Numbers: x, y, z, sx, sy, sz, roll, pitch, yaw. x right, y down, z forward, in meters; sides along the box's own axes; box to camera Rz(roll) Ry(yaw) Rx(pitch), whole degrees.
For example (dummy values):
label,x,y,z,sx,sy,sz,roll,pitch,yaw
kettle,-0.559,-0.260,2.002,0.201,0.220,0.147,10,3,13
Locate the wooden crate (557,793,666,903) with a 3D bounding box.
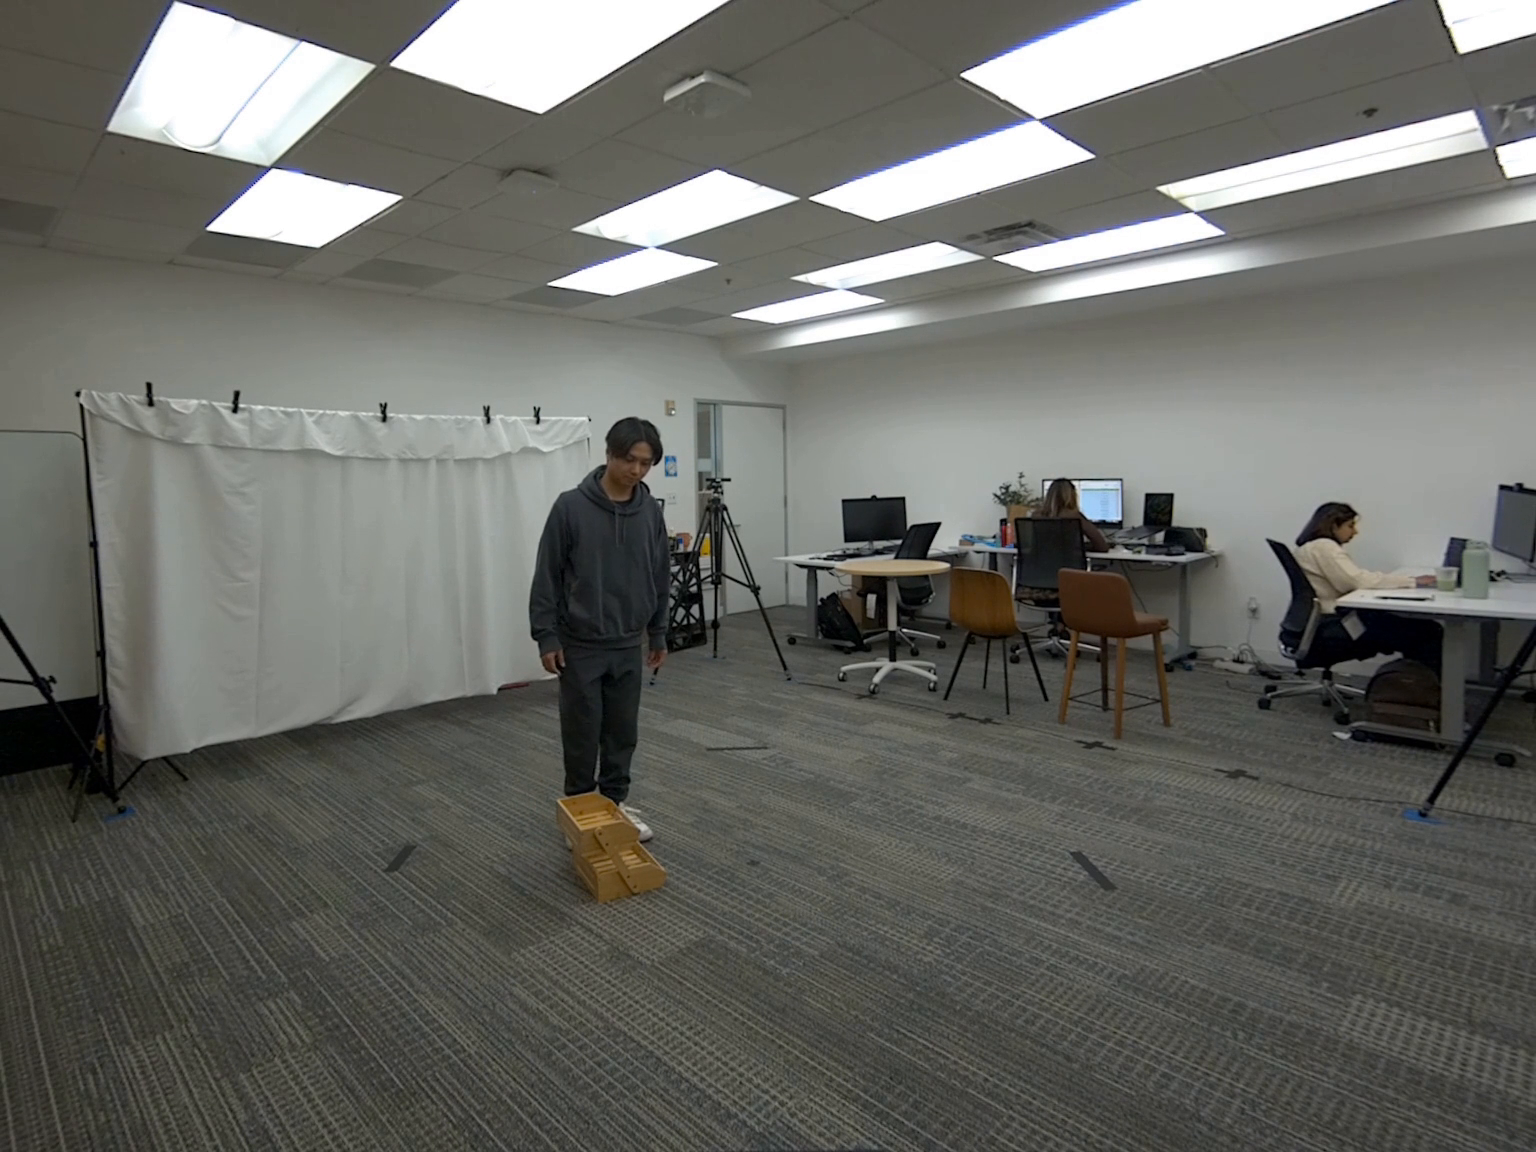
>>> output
label,x,y,z,sx,sy,sz,roll,pitch,yaw
wooden crate,-0.545,0.925,3.004,0.295,0.272,0.333,-5,6,-28
